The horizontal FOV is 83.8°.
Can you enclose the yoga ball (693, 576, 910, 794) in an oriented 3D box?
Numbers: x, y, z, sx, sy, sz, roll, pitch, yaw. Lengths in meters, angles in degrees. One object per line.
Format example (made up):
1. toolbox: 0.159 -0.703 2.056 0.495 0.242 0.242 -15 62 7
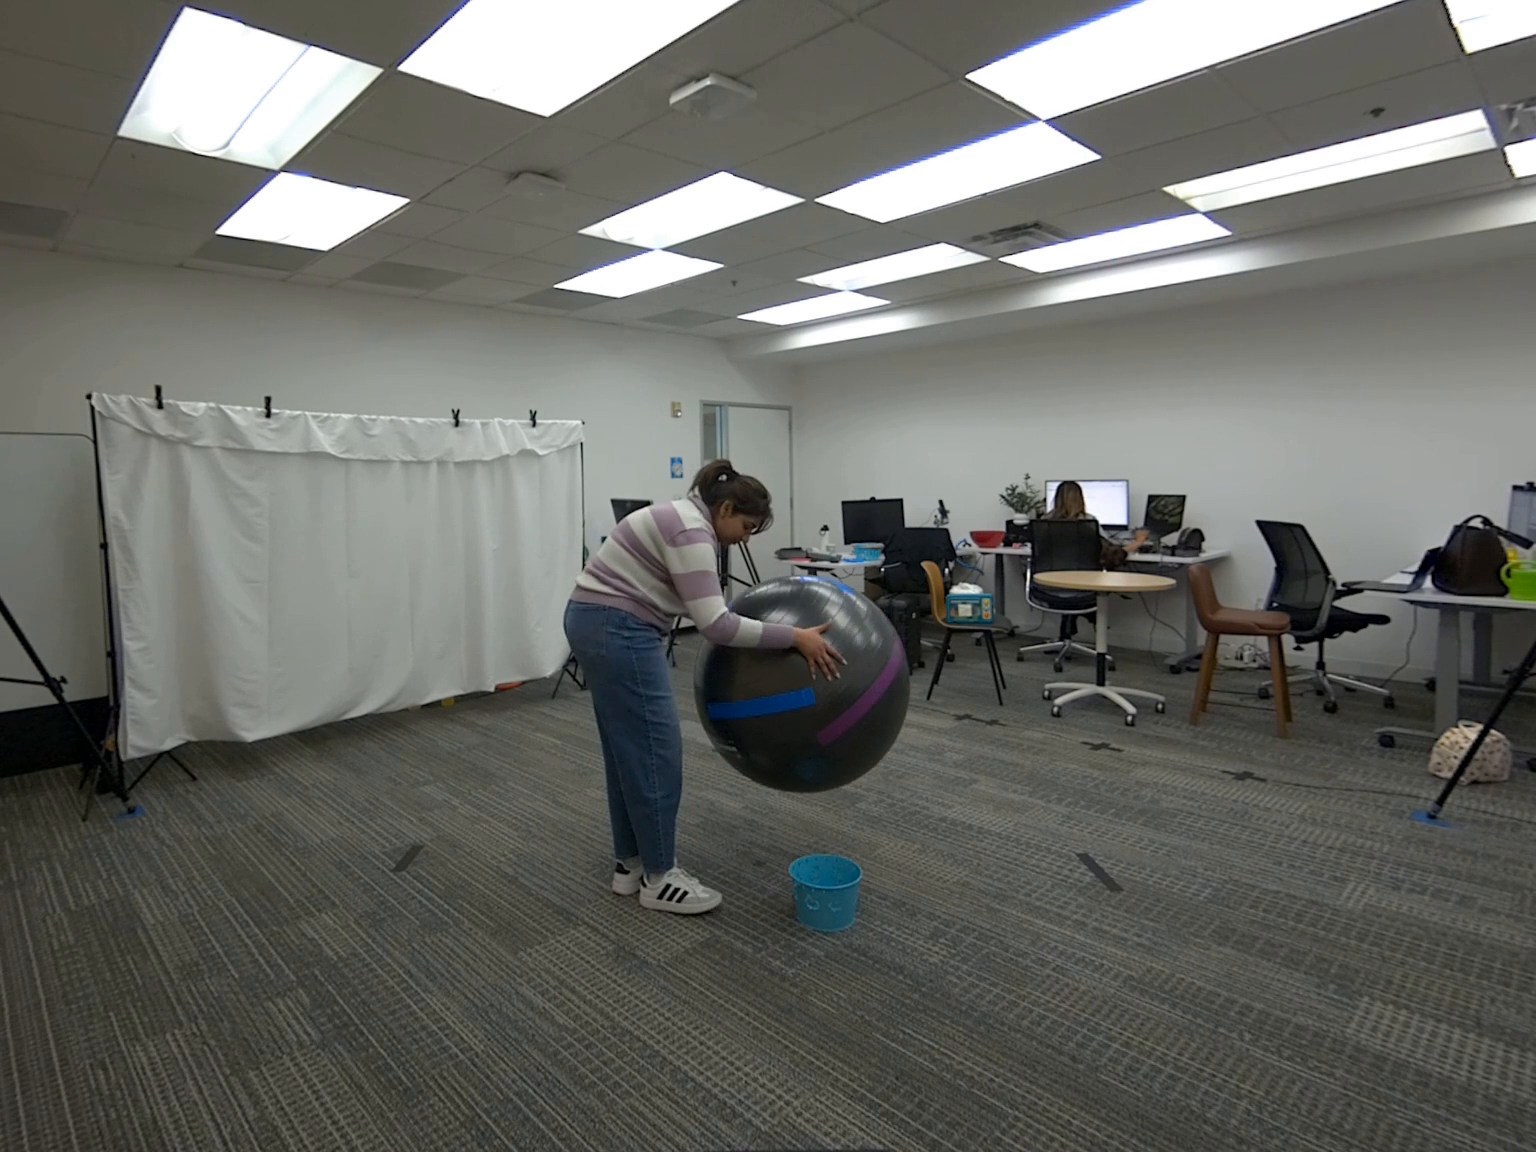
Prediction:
1. yoga ball: 0.120 0.393 3.020 0.757 0.755 0.762 -1 5 -2
